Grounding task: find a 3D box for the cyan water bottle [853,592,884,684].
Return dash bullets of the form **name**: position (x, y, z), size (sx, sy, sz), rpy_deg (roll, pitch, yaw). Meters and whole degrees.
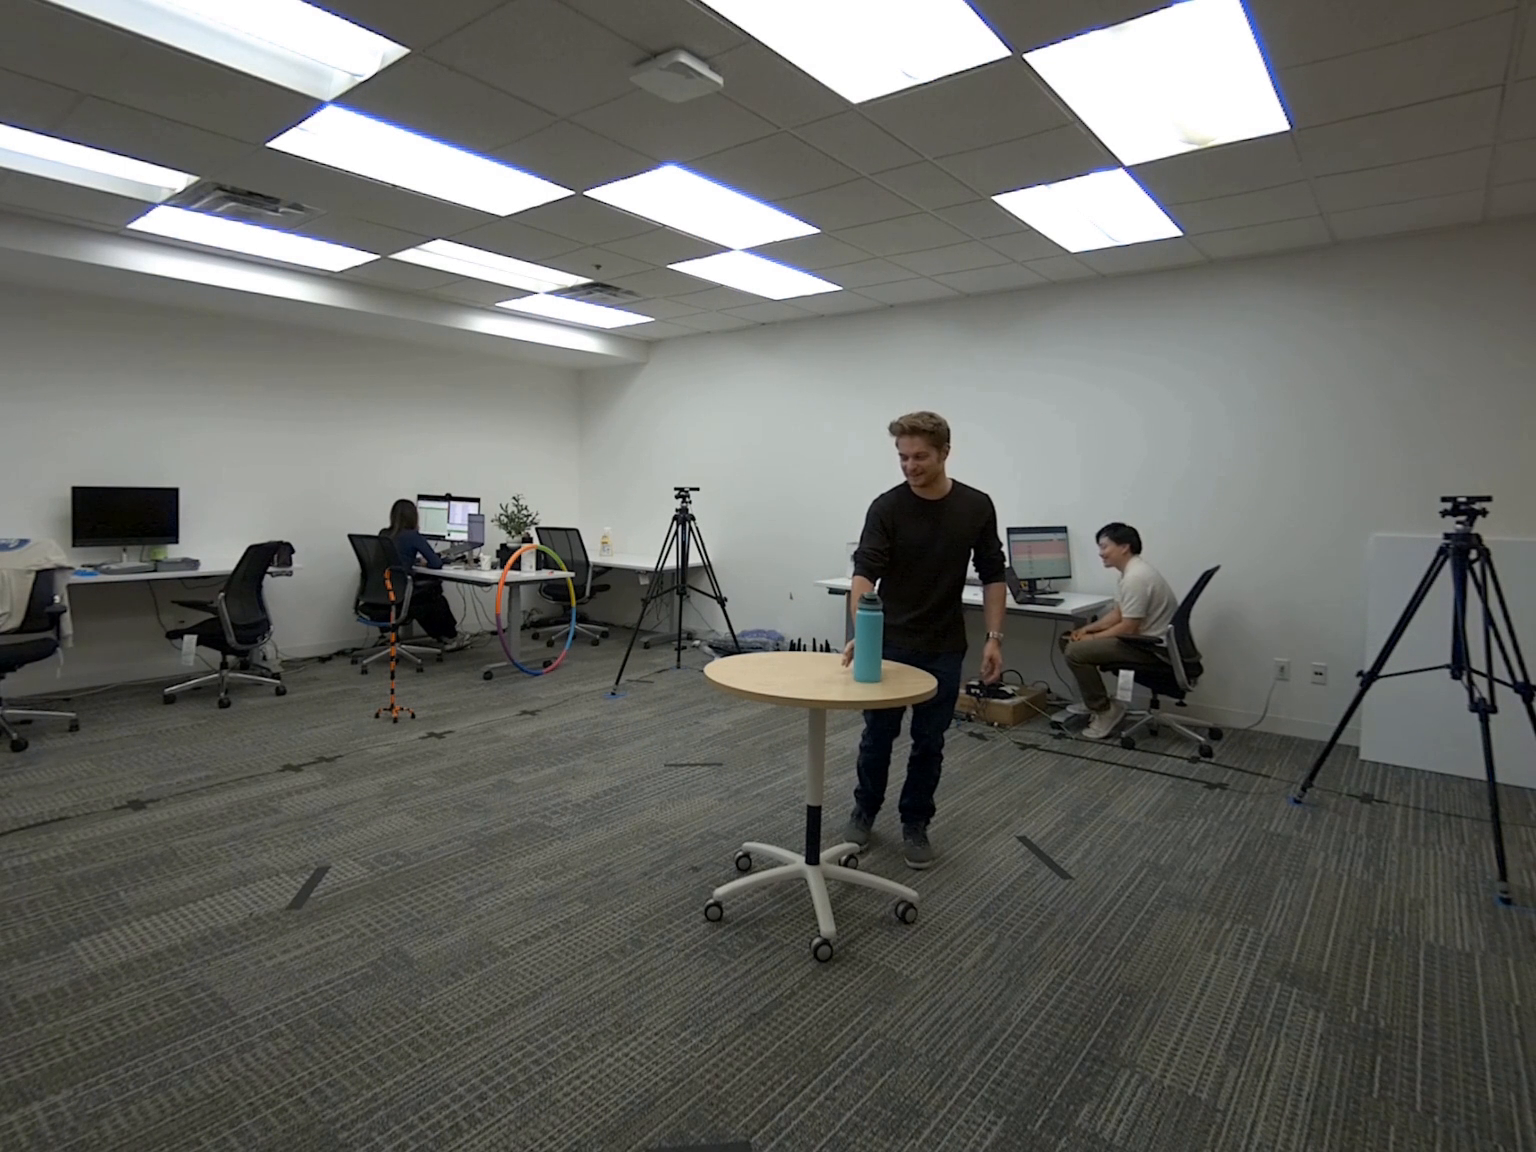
- **cyan water bottle**: position (0.311, 0.192, 2.727), size (0.092, 0.283, 0.092), rpy_deg (1, 2, -2)
